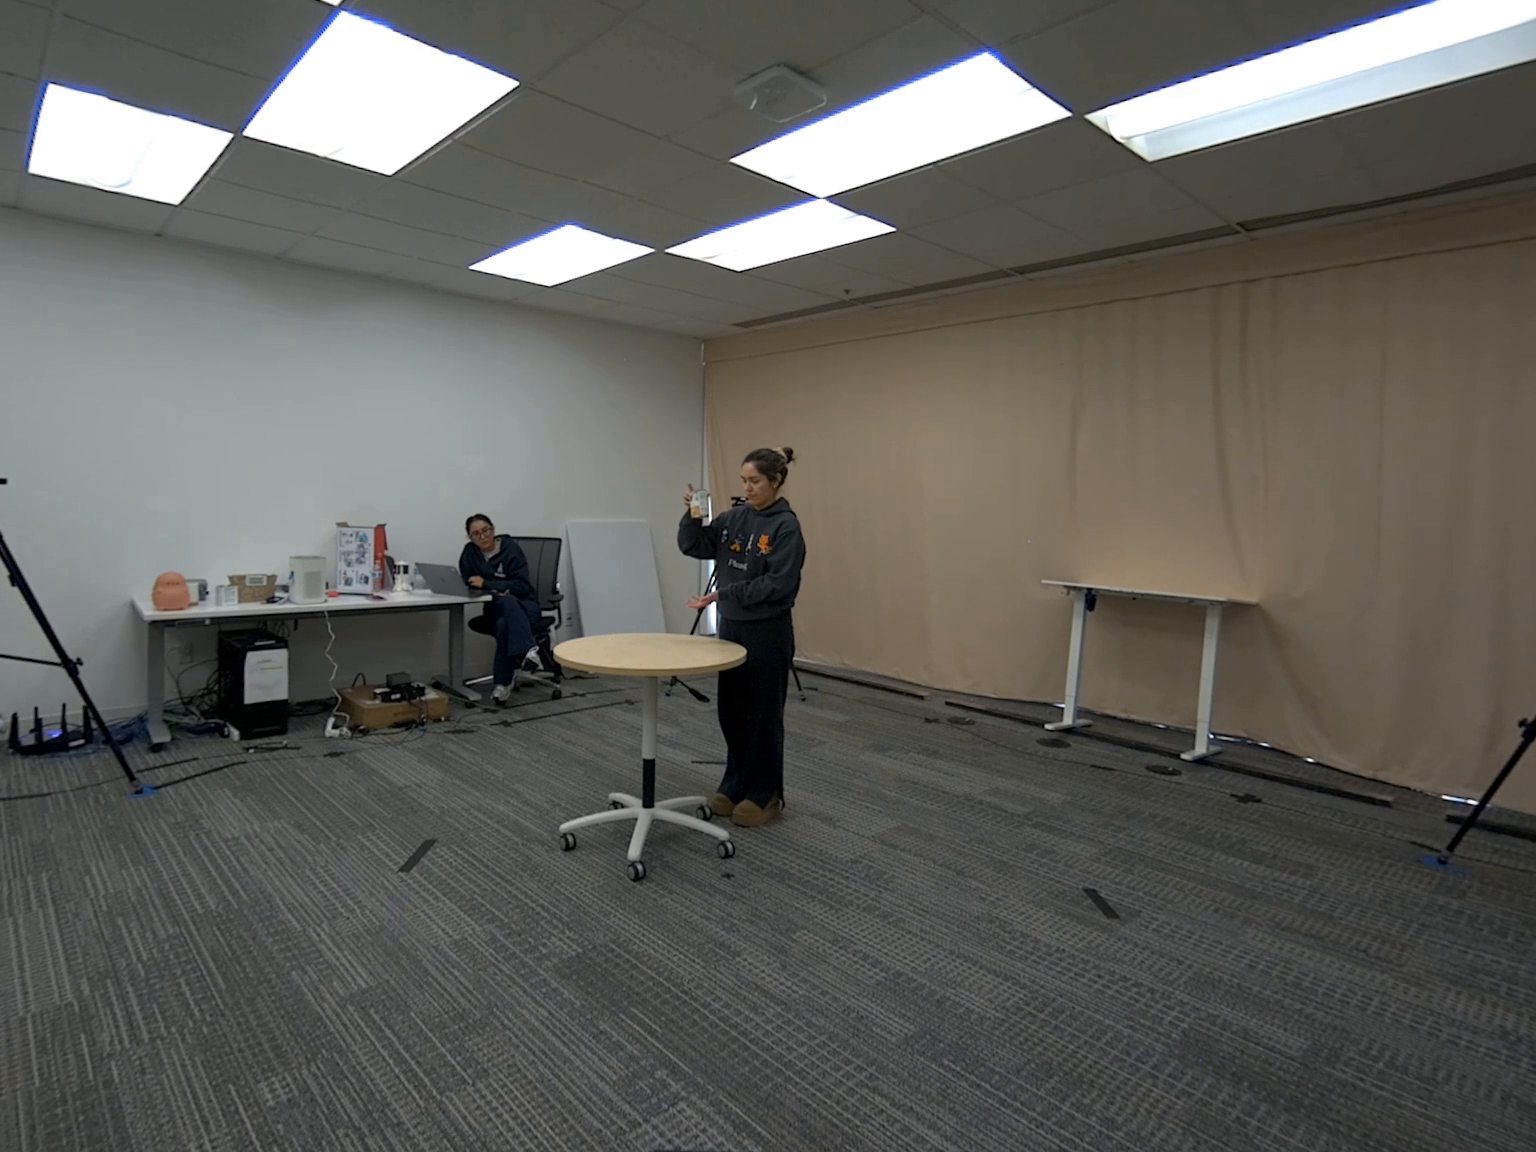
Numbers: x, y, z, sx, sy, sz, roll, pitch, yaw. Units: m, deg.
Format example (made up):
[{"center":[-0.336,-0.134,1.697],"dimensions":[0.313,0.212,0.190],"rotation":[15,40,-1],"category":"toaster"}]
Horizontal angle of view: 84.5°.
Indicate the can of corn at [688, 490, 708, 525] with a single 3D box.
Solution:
[{"center":[-0.325,-0.302,3.527],"dimensions":[0.074,0.111,0.074],"rotation":[-1,3,-1],"category":"can of corn"}]
